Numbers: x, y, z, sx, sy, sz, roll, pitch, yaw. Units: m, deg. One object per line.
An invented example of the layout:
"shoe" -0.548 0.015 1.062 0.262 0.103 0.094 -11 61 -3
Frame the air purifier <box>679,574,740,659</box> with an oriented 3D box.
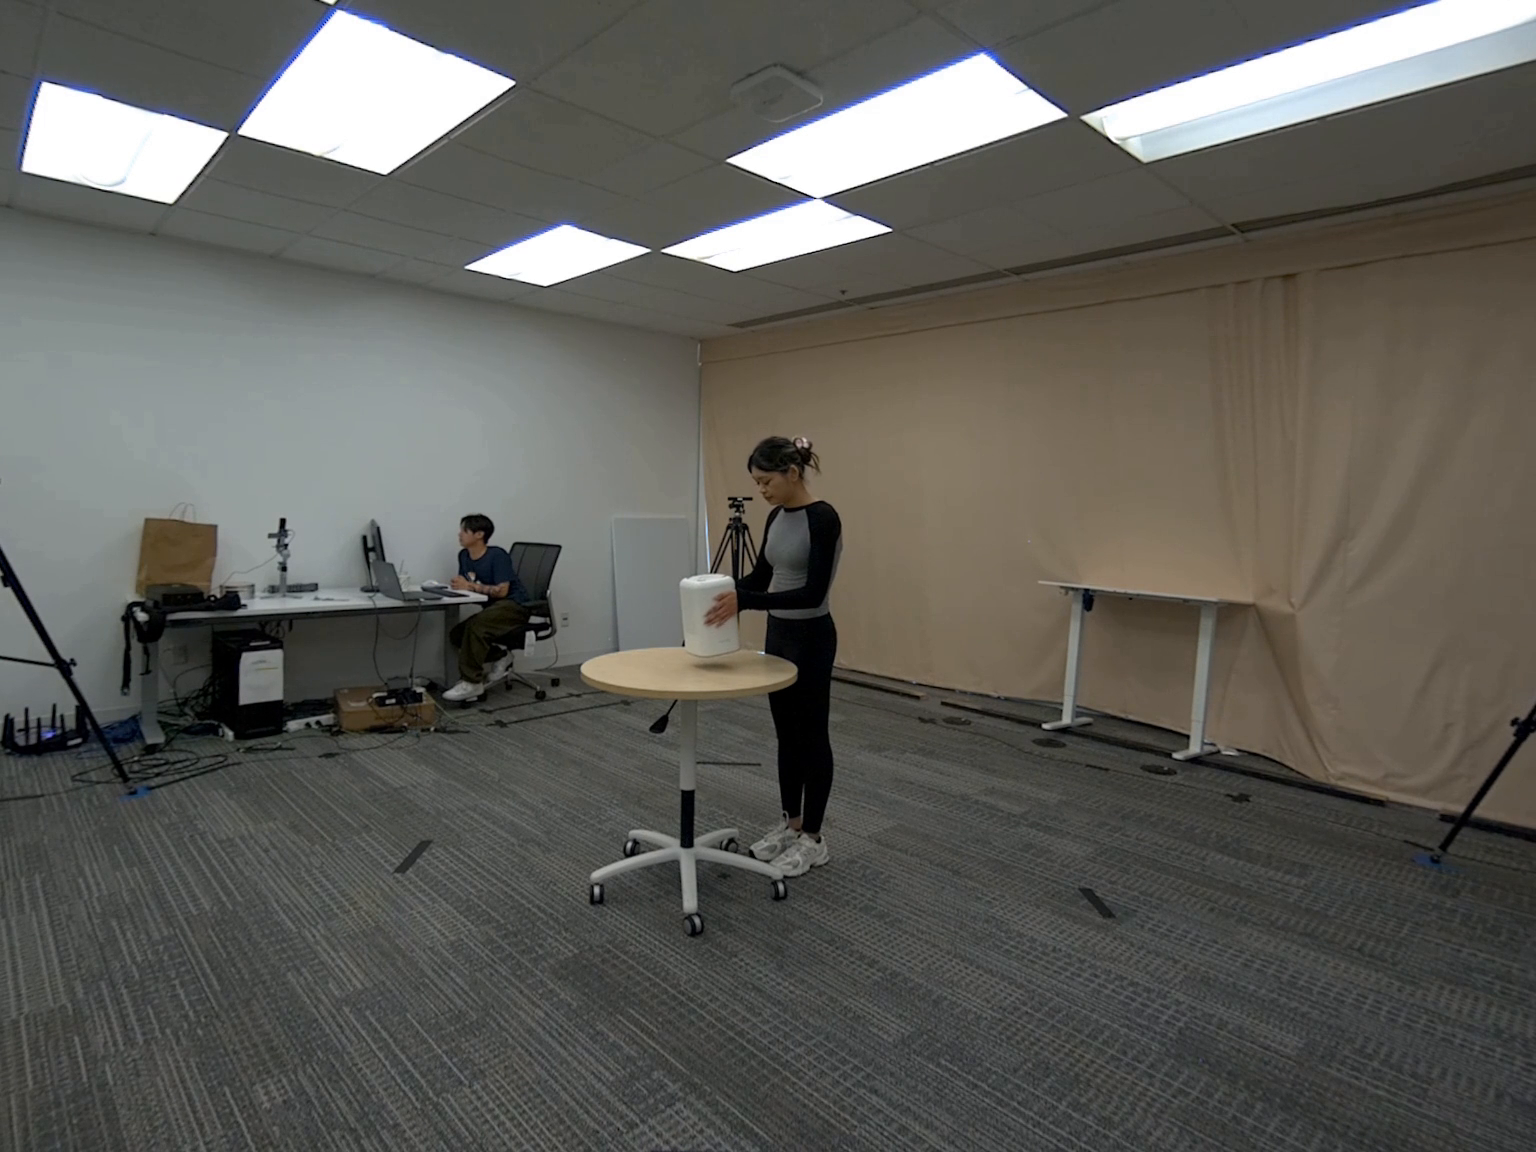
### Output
"air purifier" -0.215 0.135 2.970 0.168 0.264 0.176 -10 10 -38
